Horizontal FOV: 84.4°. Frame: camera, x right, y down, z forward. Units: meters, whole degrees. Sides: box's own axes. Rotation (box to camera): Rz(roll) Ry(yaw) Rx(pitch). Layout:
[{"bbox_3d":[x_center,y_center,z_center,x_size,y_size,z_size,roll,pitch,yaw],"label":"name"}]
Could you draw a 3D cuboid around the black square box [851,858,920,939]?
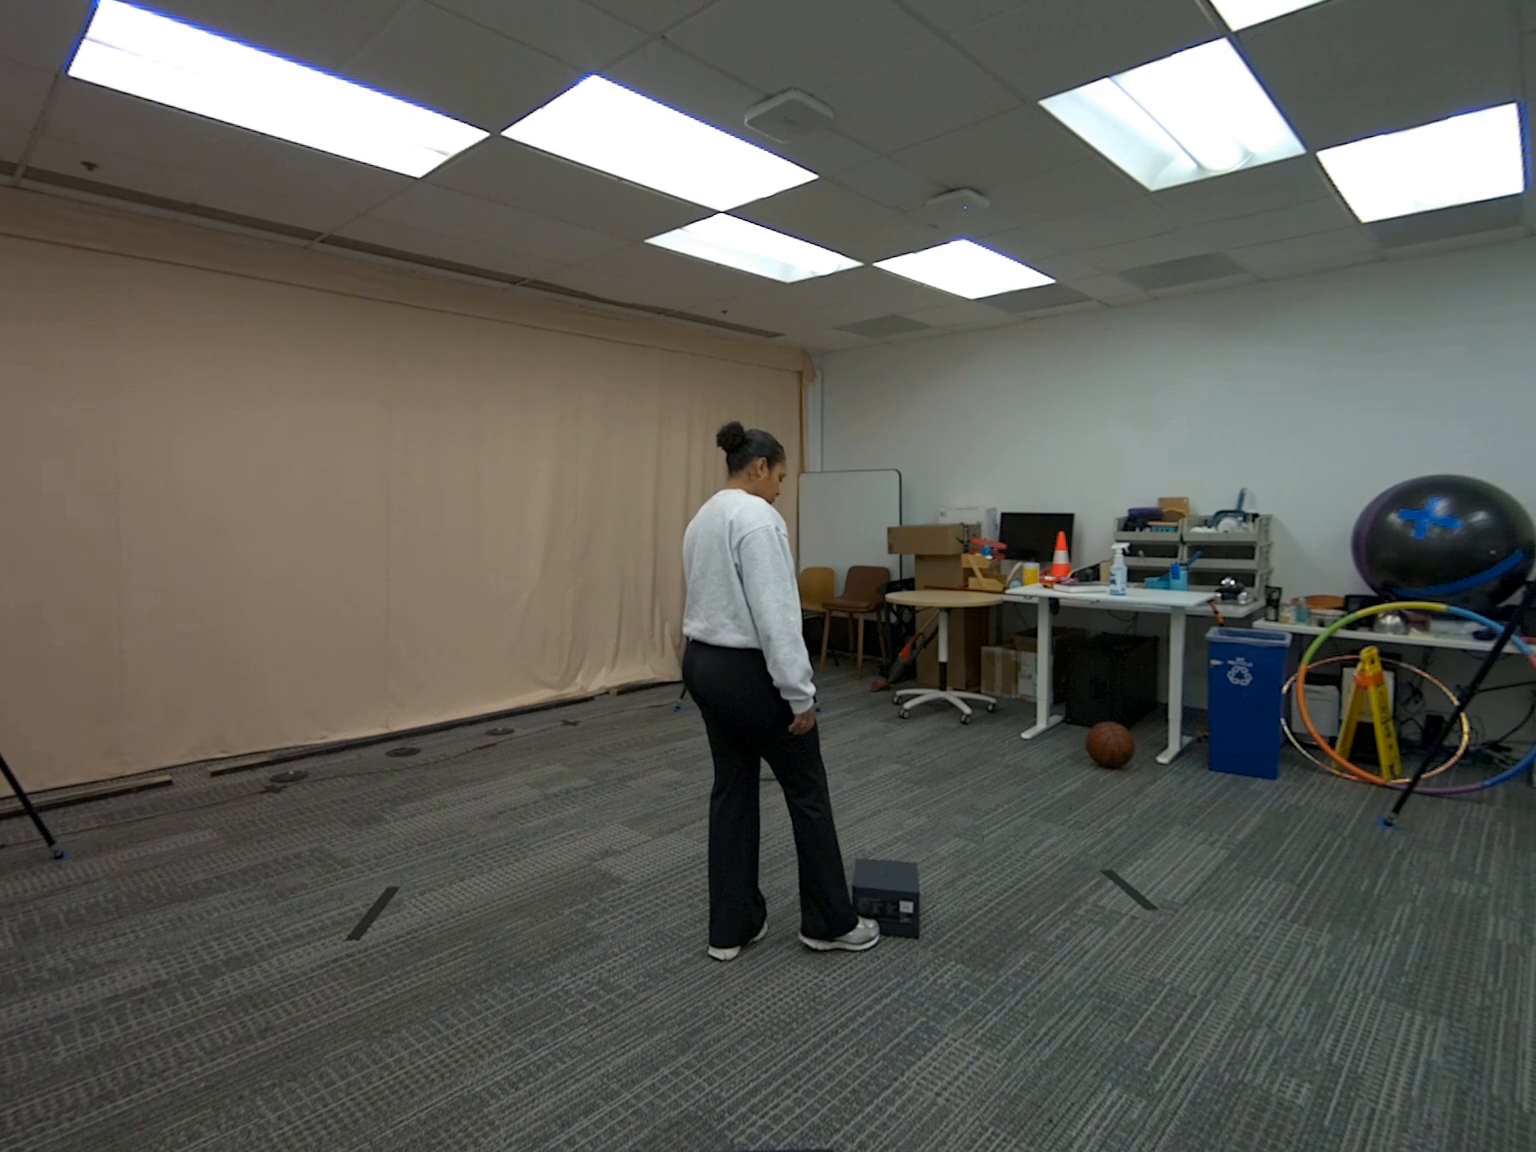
[{"bbox_3d":[0.397,1.070,2.830,0.220,0.155,0.225,1,5,11],"label":"black square box"}]
